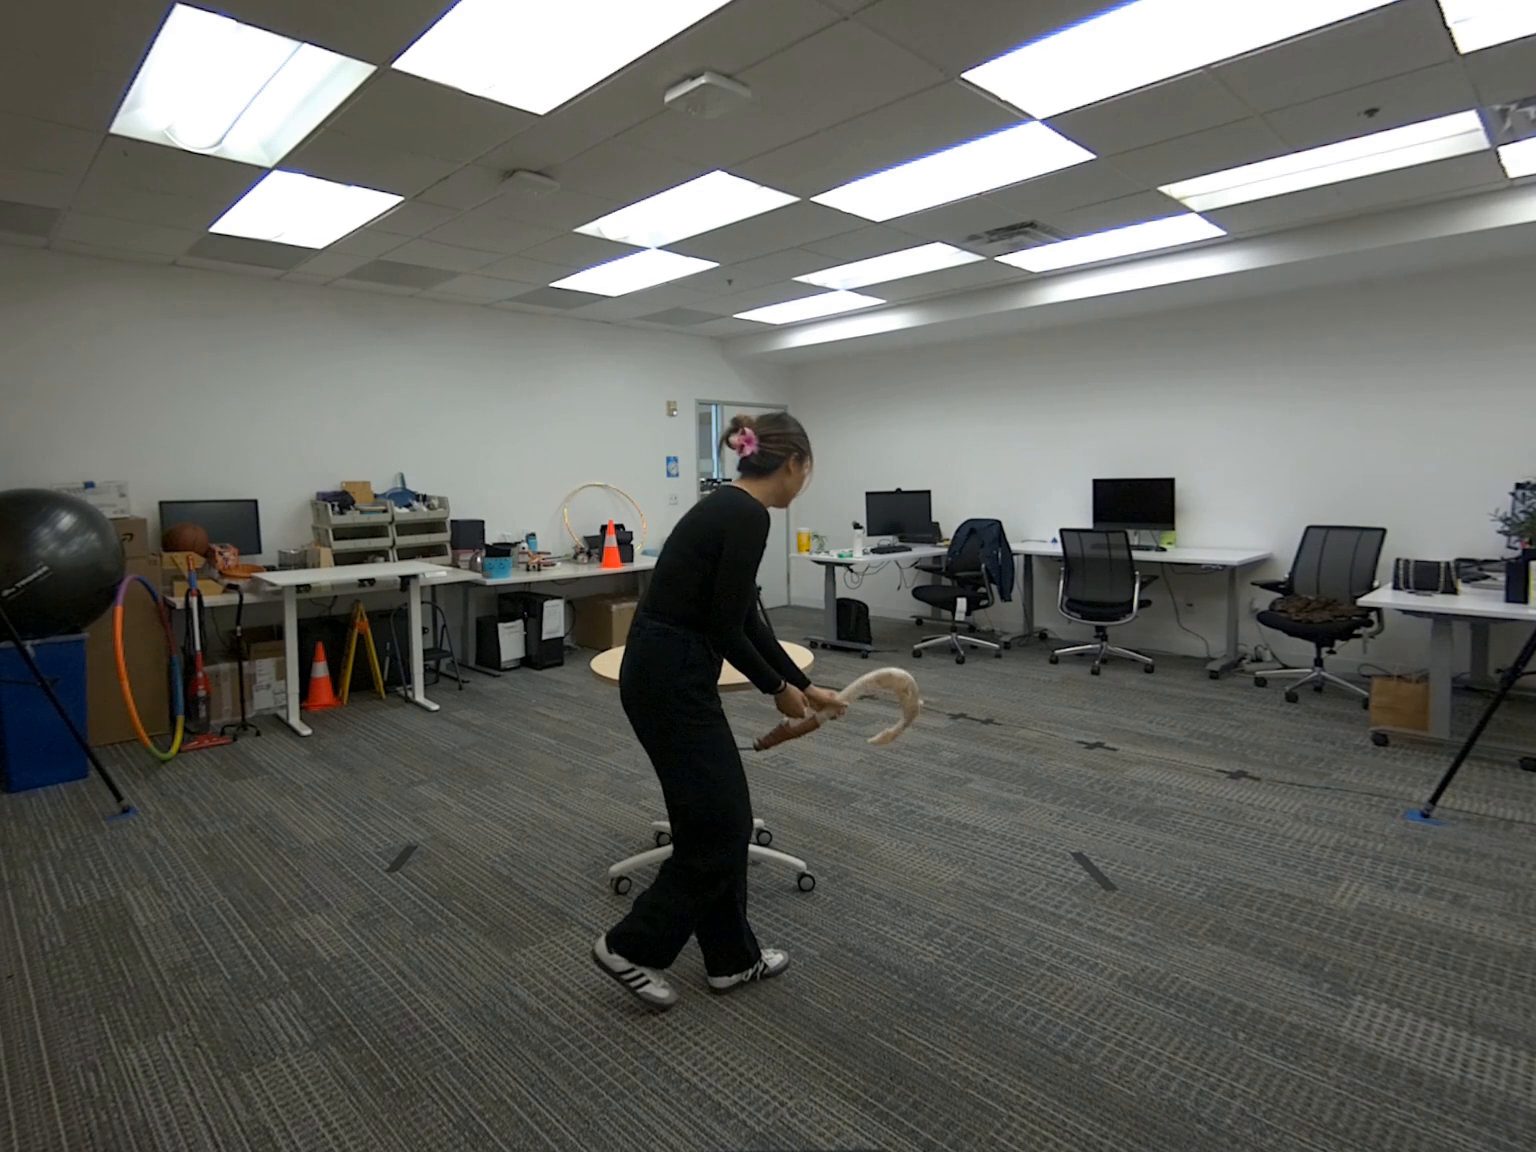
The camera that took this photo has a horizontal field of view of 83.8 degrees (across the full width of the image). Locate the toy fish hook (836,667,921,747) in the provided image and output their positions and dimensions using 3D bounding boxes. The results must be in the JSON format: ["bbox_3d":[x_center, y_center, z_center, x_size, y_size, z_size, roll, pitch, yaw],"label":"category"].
[{"bbox_3d":[0.200,0.435,2.483,0.506,0.222,0.049,-22,8,-2],"label":"toy fish hook"}]
